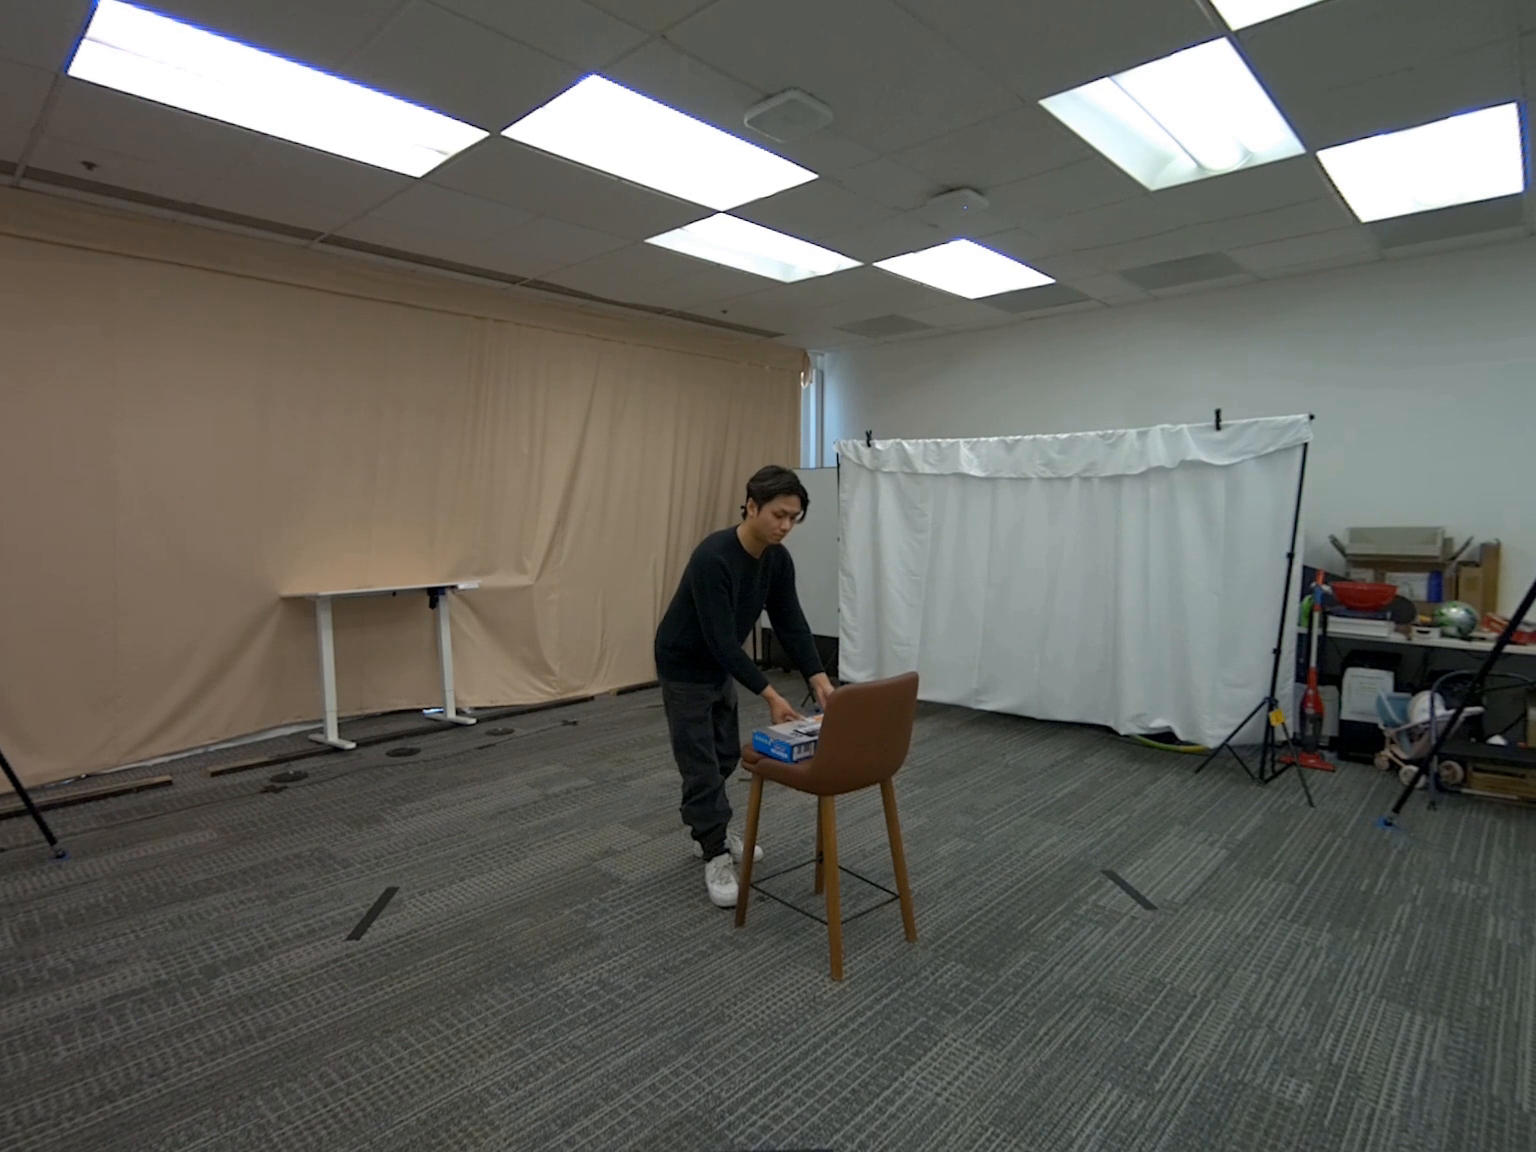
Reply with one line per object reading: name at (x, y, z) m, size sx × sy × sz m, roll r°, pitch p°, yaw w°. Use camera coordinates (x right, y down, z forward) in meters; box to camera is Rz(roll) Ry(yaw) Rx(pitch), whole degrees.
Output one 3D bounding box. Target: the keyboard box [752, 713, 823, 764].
keyboard box at (0.171, 0.510, 2.737) m, size 0.424 × 0.059 × 0.182 m, roll -5°, pitch 9°, yaw -41°
